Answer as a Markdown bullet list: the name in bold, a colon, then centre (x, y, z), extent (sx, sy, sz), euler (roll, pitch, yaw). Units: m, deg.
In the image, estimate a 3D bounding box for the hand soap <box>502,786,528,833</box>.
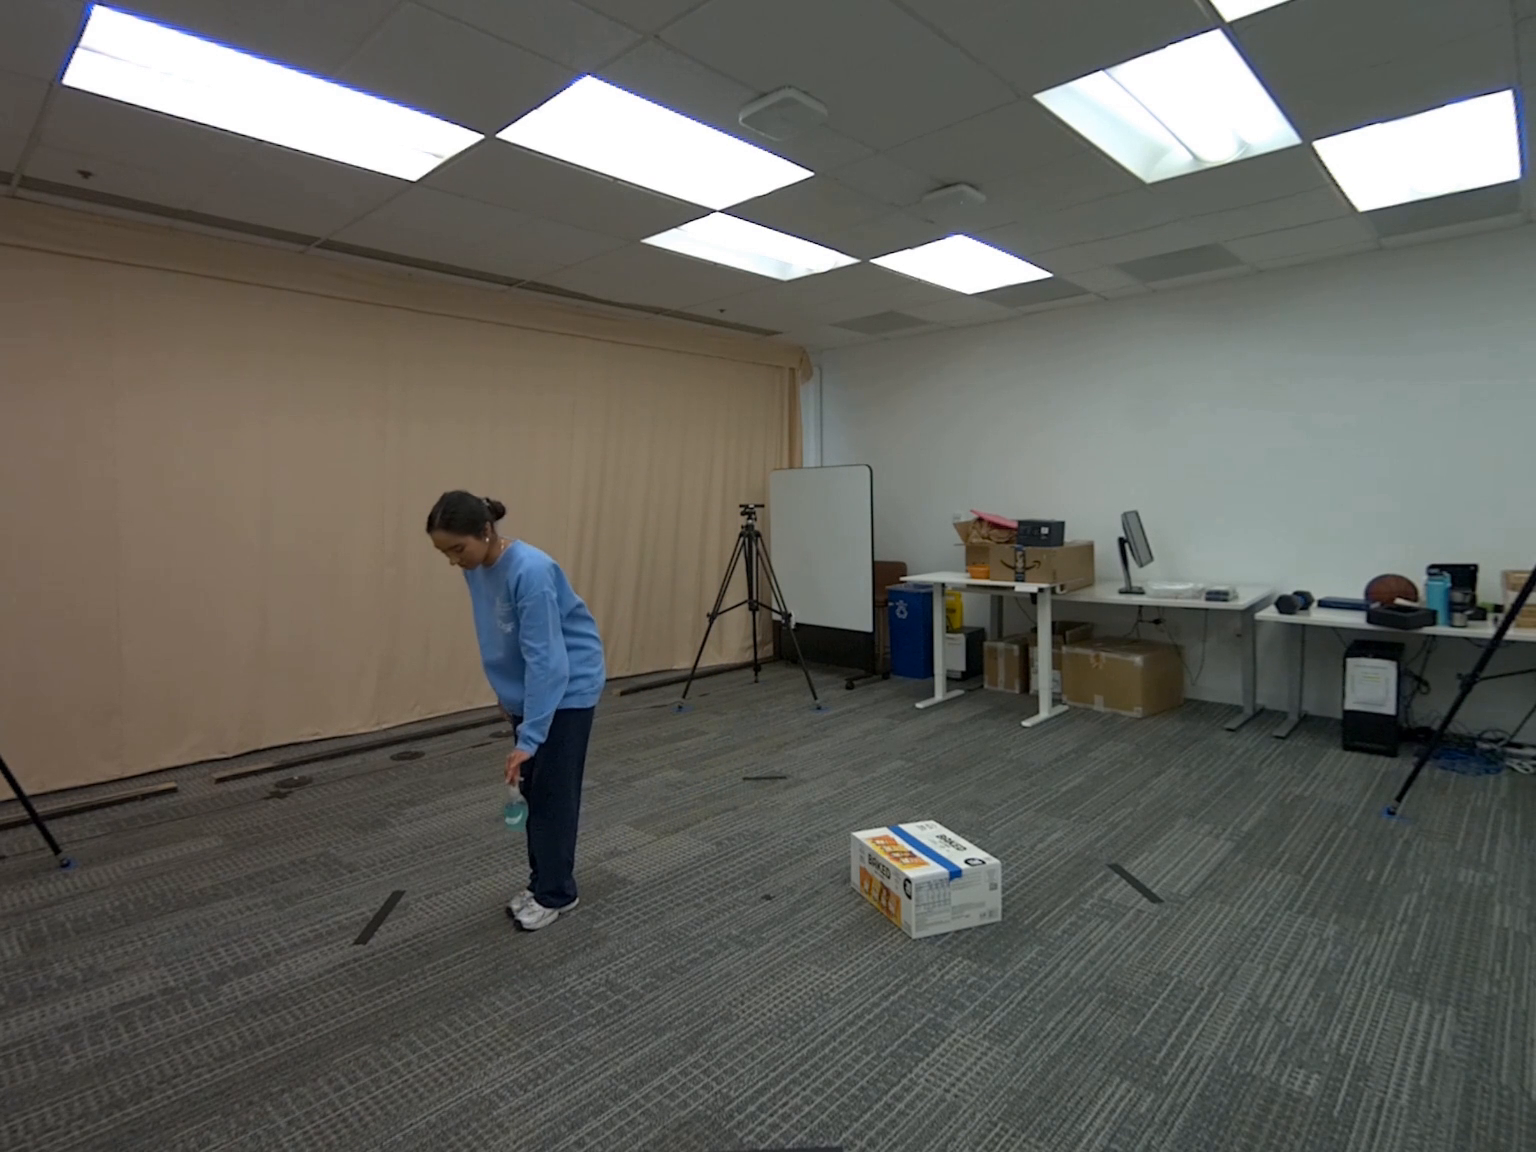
- **hand soap**: centre (-0.777, 0.696, 2.619), extent (0.084, 0.167, 0.043), euler (8, 7, -1)
